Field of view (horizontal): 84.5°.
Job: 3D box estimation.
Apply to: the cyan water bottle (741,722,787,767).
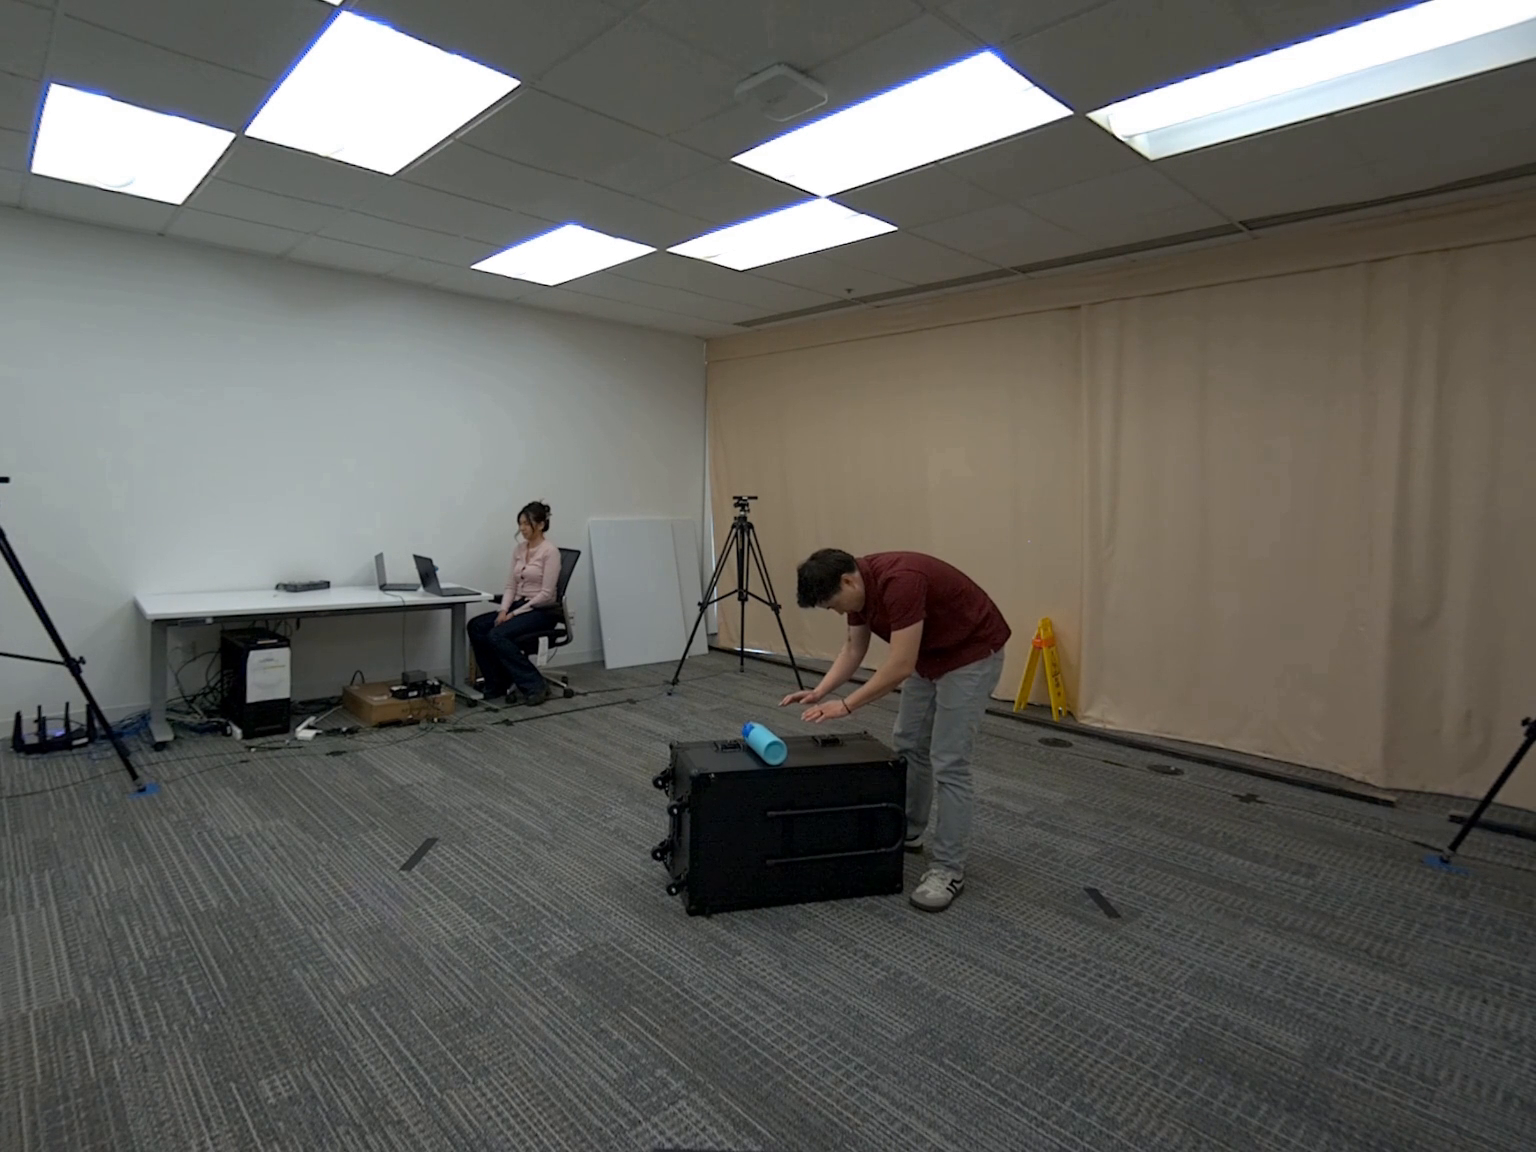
[{"bbox_3d":[-0.022,0.586,2.991,0.091,0.092,0.287,0,3,-14],"label":"cyan water bottle"}]
